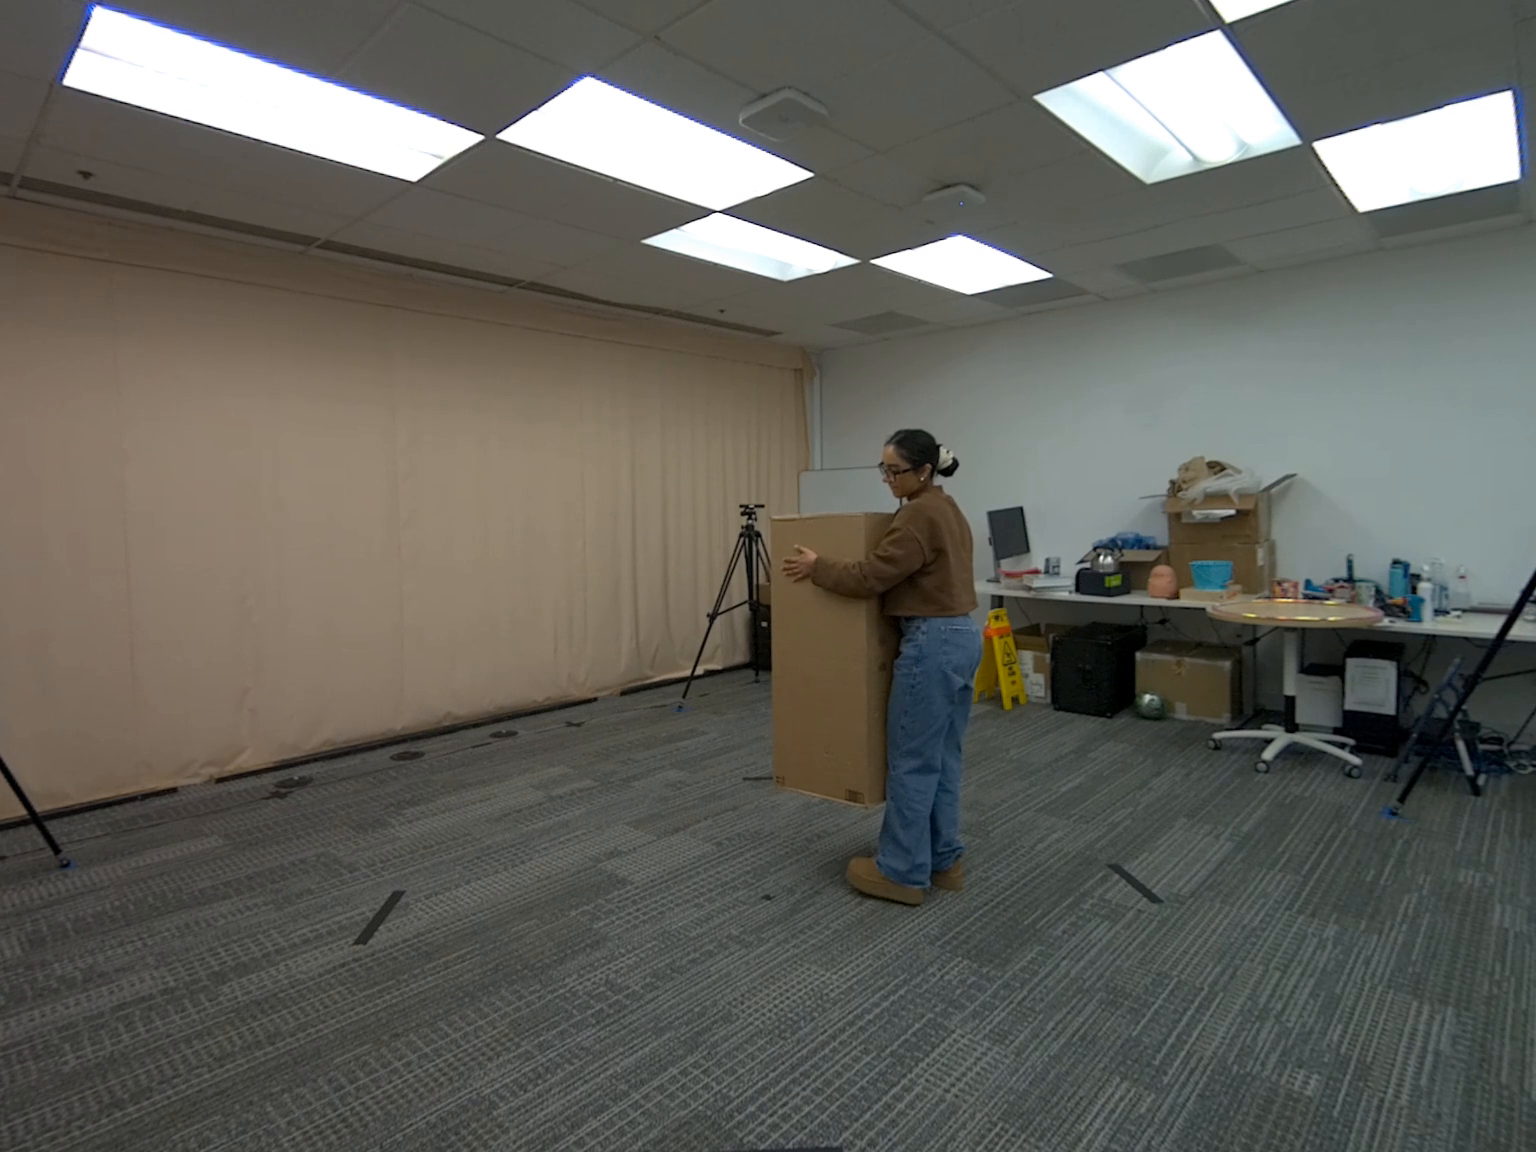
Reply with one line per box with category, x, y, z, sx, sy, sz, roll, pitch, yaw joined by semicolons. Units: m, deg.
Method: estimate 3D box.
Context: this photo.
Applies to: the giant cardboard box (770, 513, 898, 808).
giant cardboard box;0.350;0.290;3.253;0.440;1.026;0.559;-1;0;41
